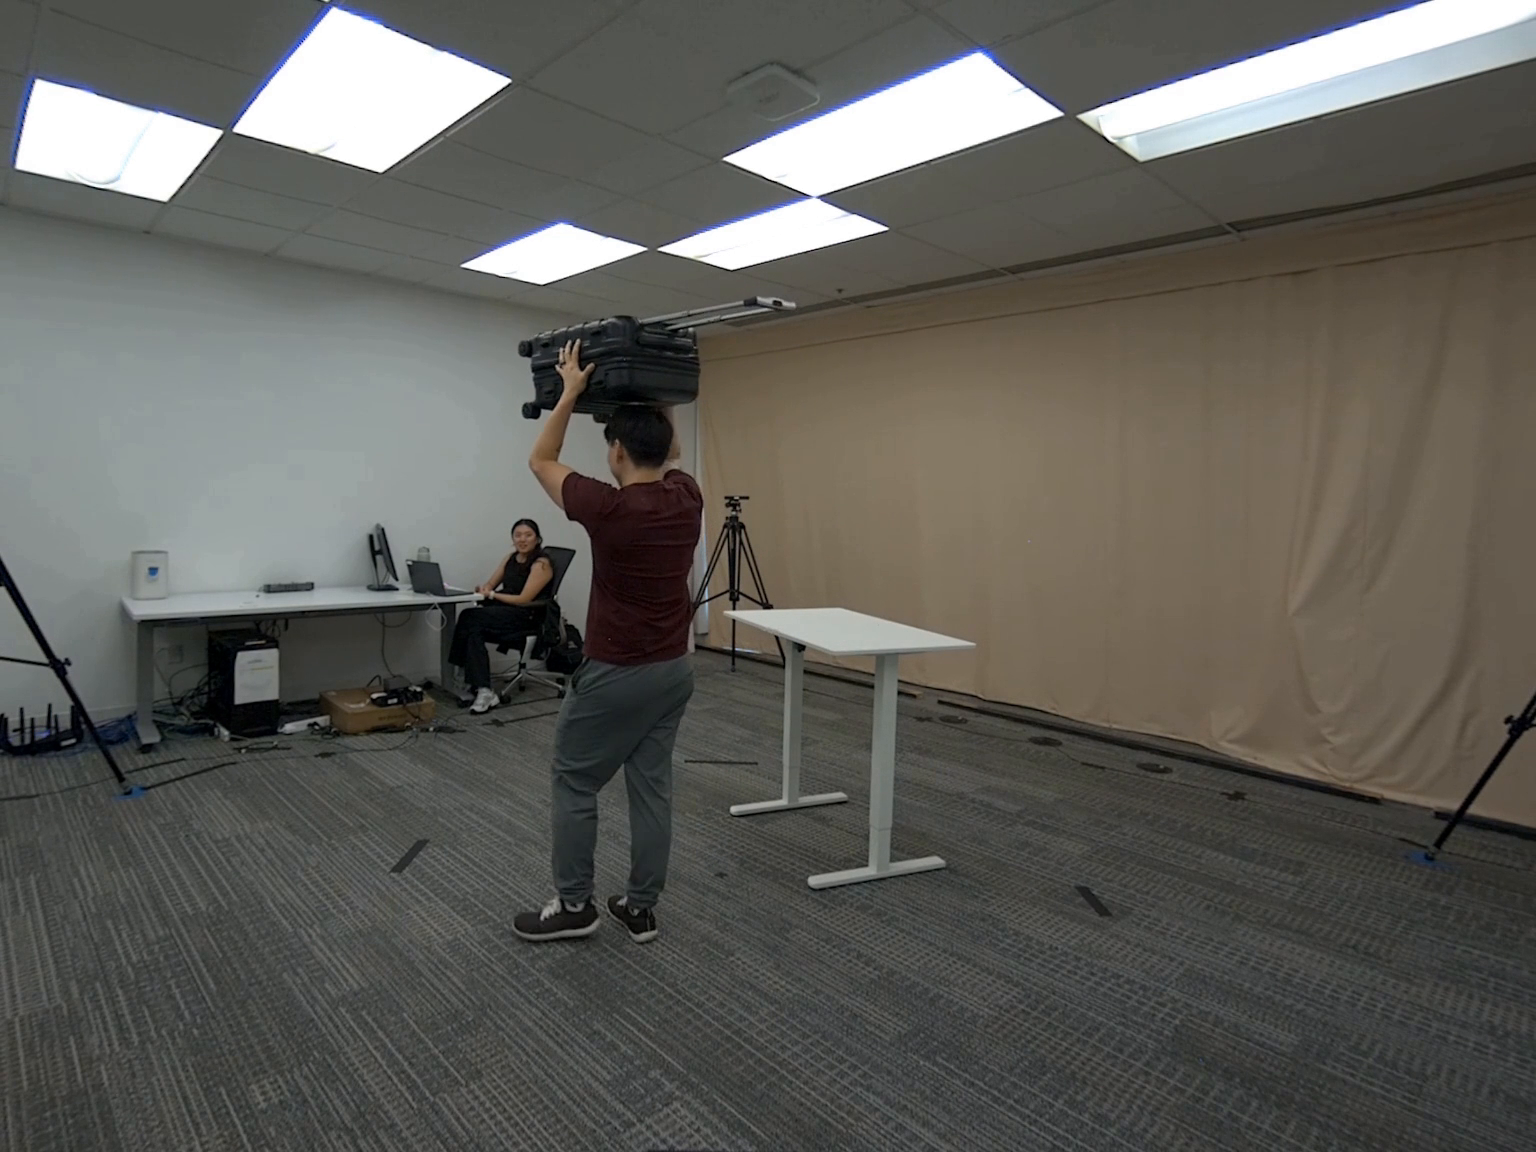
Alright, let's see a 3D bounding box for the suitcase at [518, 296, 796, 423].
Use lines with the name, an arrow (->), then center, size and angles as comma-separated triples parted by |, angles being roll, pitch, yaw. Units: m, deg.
suitcase -> -0.356, -0.649, 2.579 | 1.003, 0.256, 0.376 | 4, 8, 42
